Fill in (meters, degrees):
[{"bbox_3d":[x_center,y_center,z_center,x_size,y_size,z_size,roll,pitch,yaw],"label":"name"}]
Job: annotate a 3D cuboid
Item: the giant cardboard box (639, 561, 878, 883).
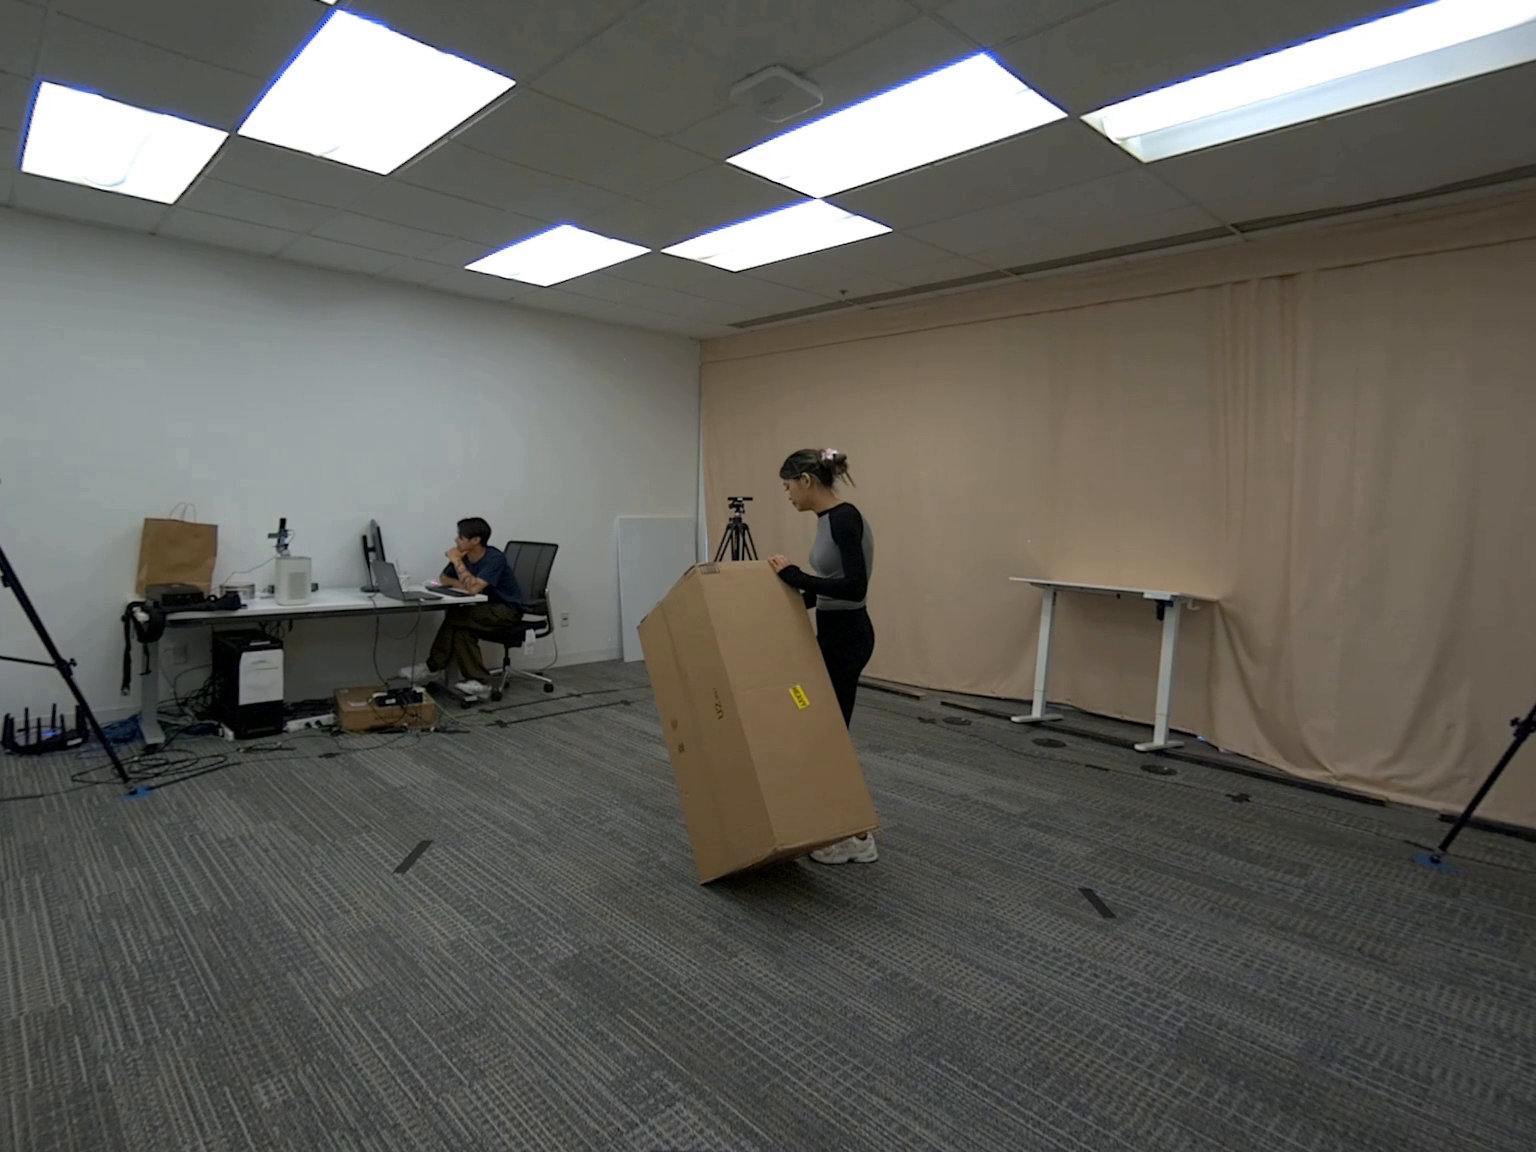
[{"bbox_3d":[-0.083,0.534,3.136,0.437,1.048,0.584,-2,-28,-35],"label":"giant cardboard box"}]
